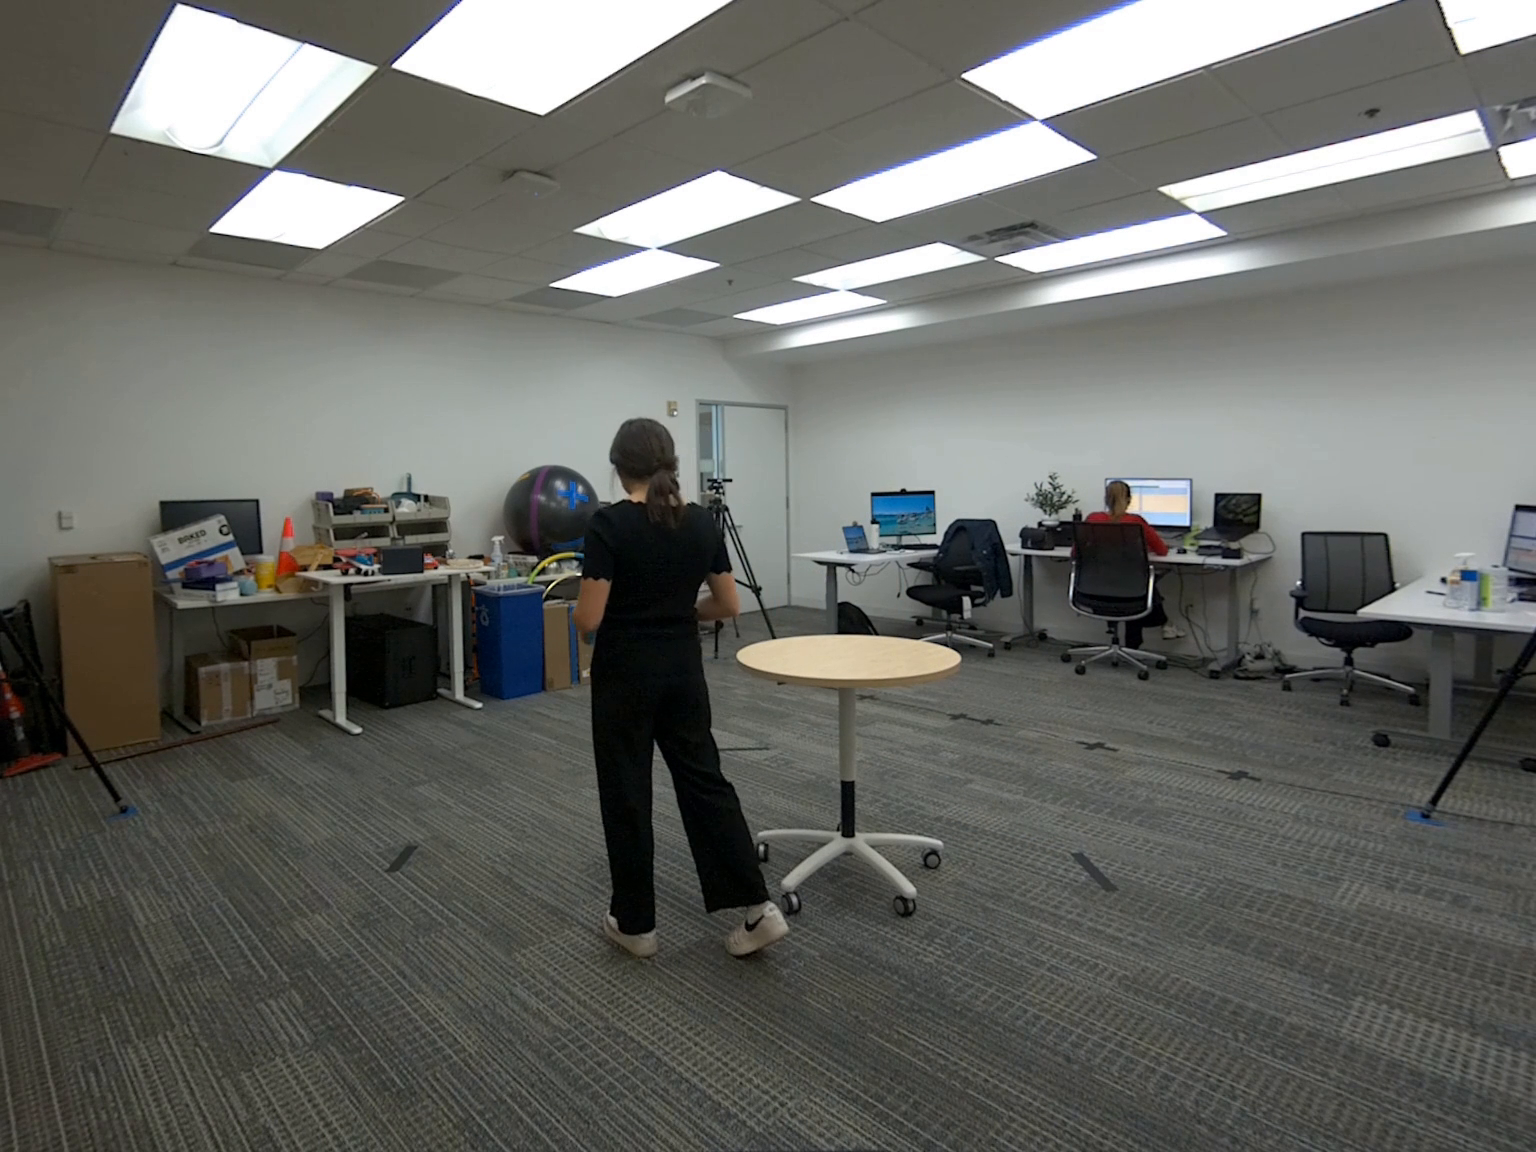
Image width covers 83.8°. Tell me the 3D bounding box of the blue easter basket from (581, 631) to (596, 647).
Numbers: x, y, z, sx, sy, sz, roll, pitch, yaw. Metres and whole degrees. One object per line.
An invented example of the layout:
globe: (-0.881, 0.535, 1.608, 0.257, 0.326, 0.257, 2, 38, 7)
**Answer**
blue easter basket: (-0.485, 0.146, 2.744, 0.243, 0.156, 0.243, -1, 0, -2)
